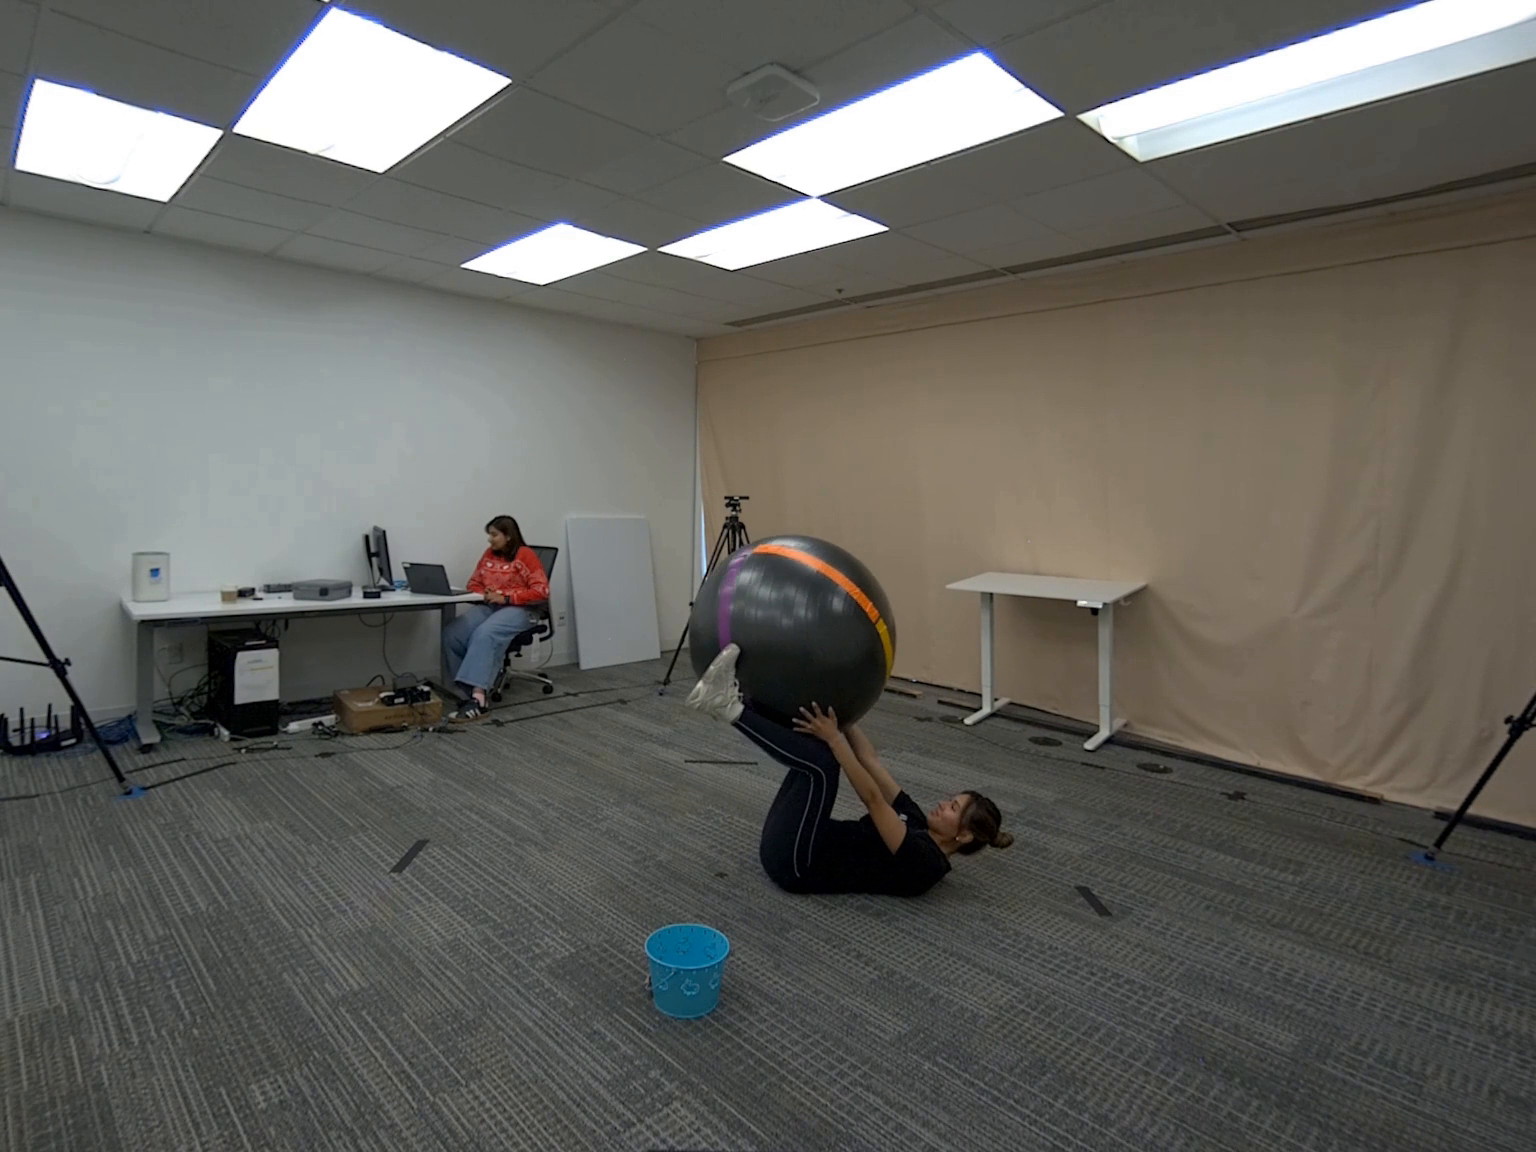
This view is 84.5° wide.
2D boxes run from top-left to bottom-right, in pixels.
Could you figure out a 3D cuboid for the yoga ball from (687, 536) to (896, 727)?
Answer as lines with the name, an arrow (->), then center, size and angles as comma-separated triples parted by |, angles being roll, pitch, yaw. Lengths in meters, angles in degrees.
yoga ball -> 0.080, 0.232, 3.094 | 0.757, 0.756, 0.761 | 1, 4, -1
